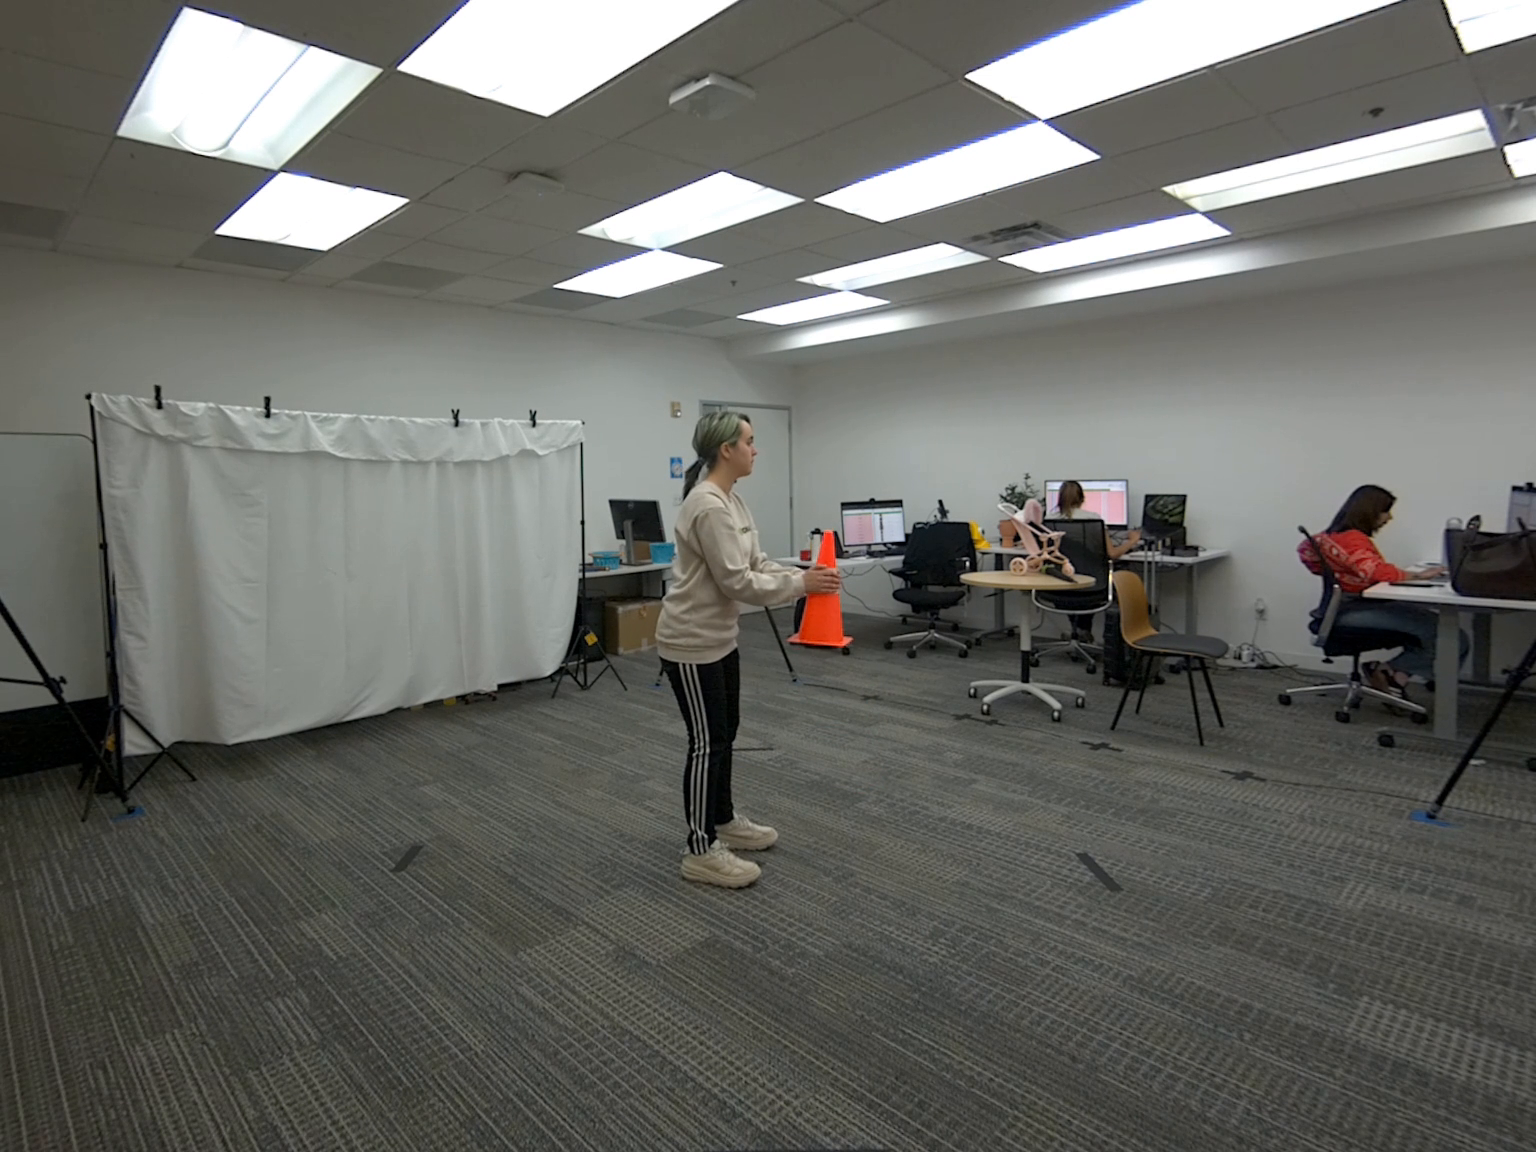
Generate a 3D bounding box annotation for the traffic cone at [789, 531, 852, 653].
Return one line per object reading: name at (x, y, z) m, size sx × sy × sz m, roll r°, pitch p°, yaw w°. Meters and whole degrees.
traffic cone at (0.194, 0.044, 2.970) m, size 0.207 × 0.383 × 0.202 m, roll 4°, pitch 4°, yaw 17°
